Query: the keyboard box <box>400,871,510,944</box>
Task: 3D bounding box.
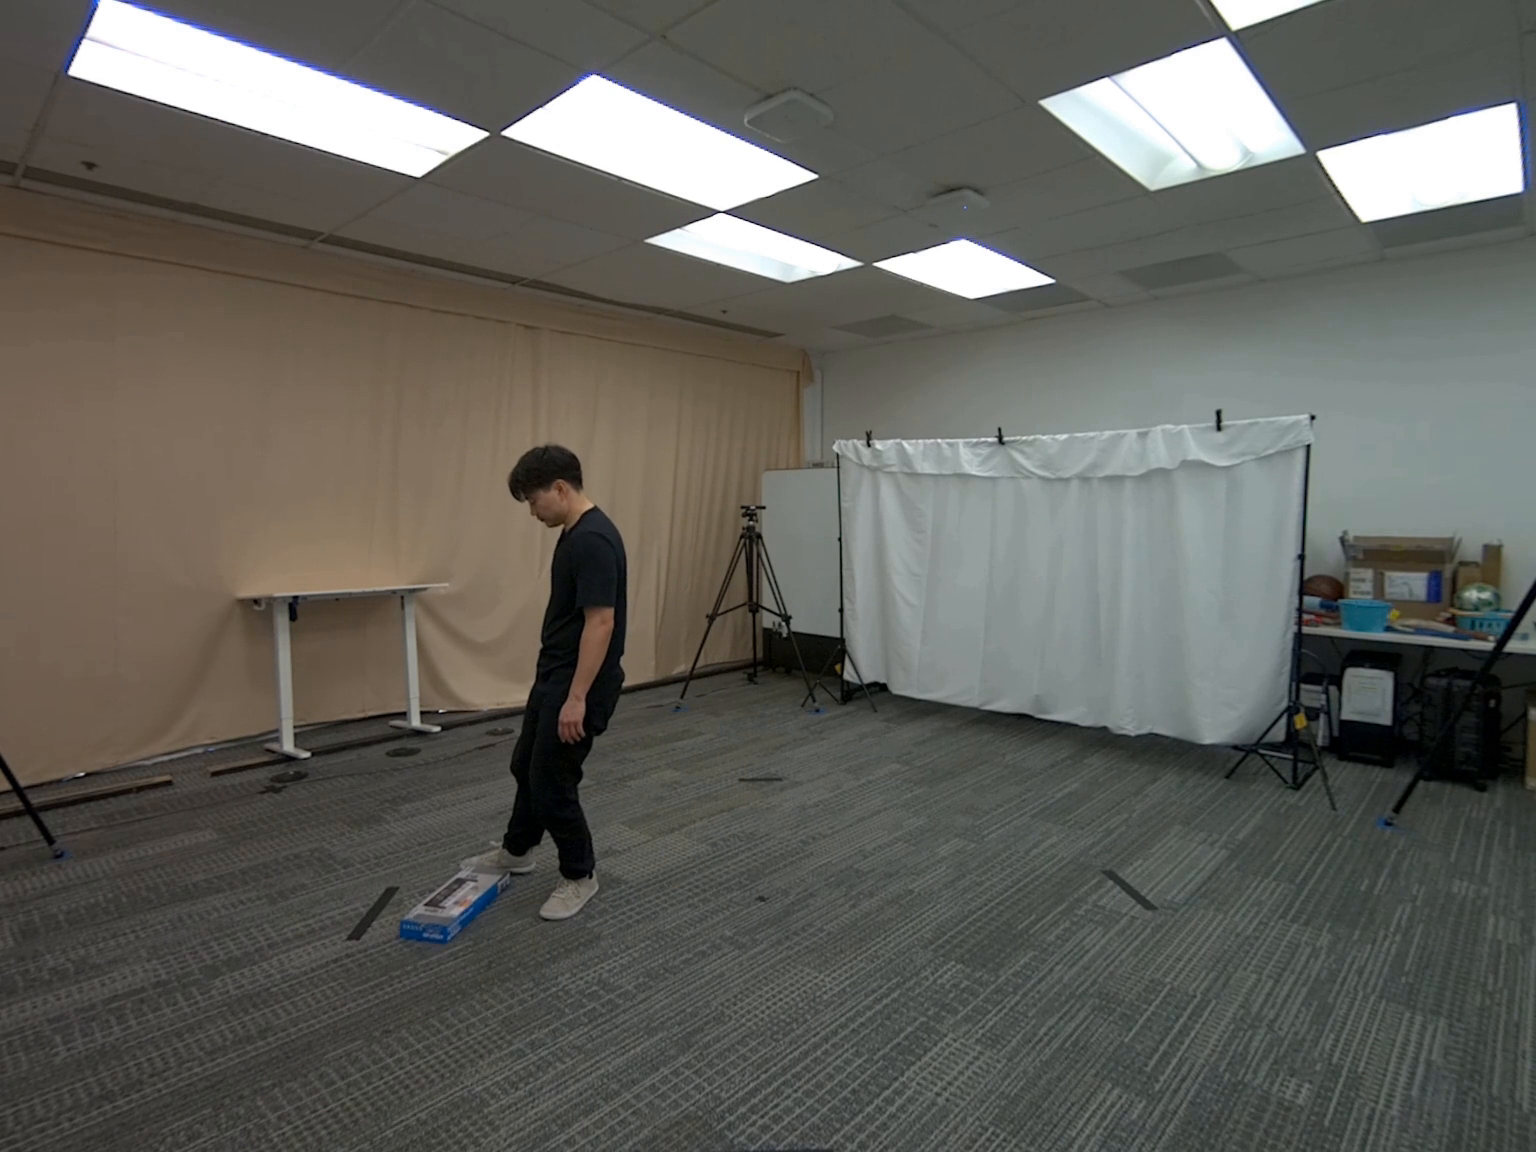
[{"bbox_3d":[-1.065,1.125,2.922,0.178,0.059,0.432,1,4,10],"label":"keyboard box"}]
